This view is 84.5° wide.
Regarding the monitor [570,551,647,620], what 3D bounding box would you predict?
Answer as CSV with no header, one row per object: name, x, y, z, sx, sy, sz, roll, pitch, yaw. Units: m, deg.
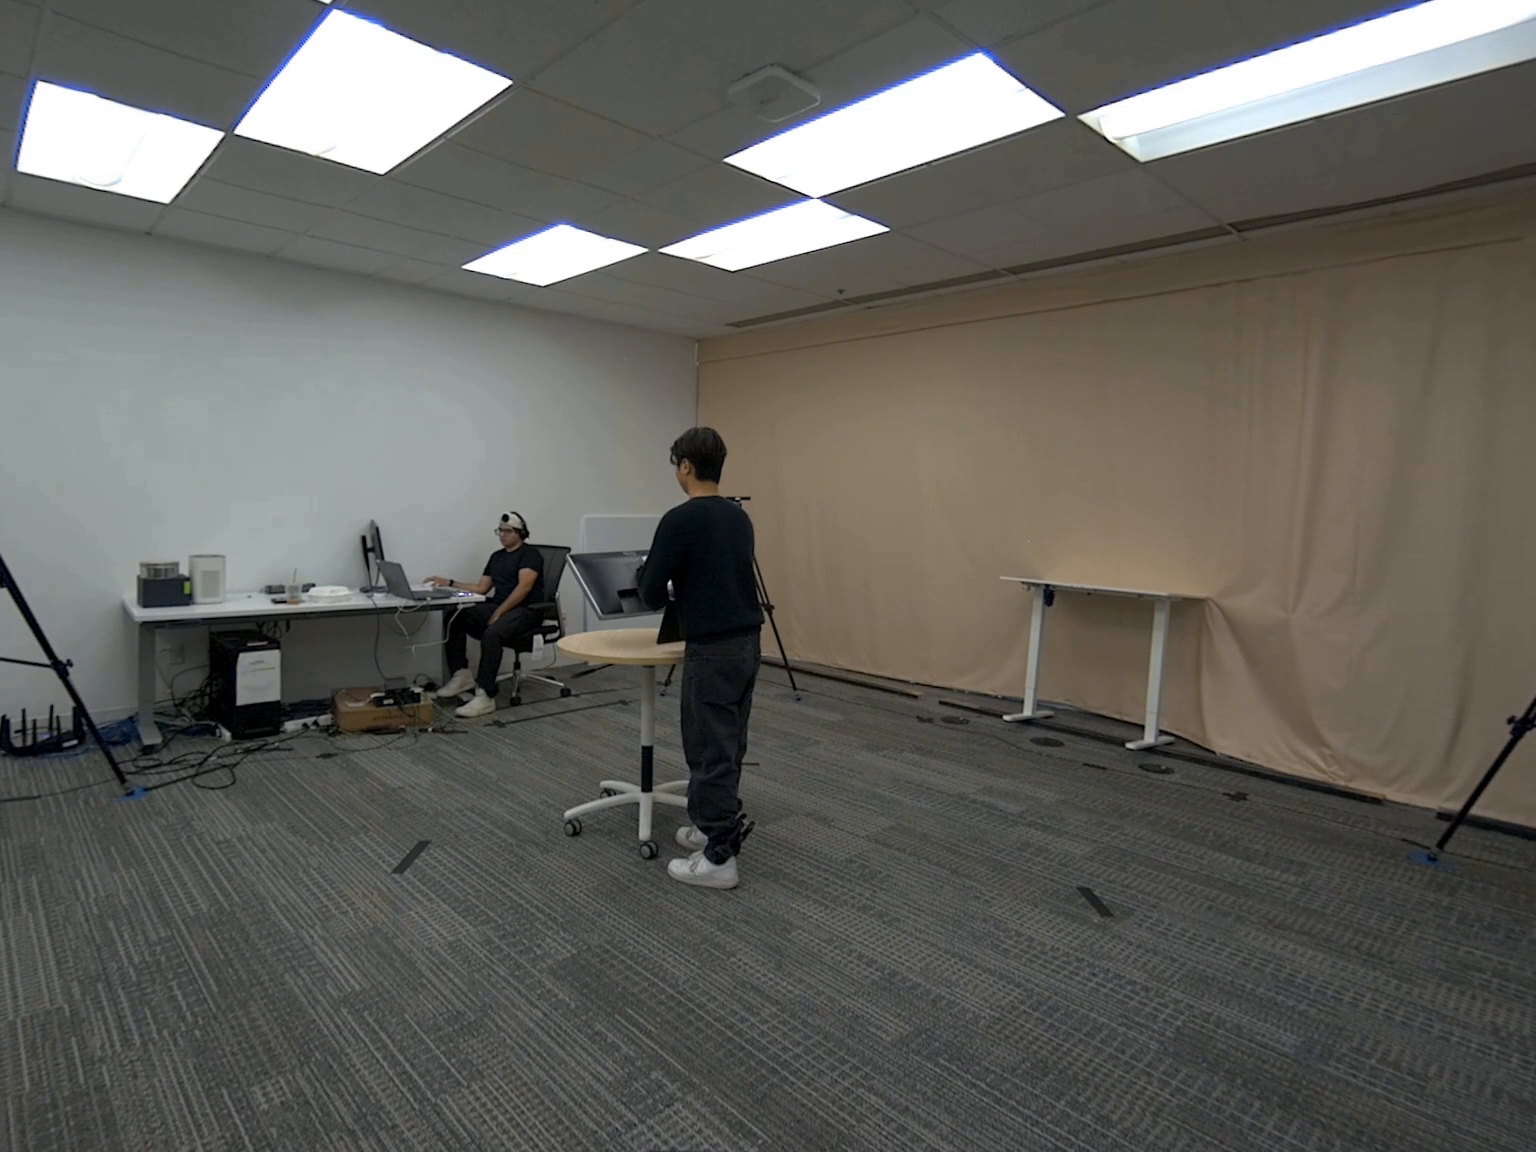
monitor,-0.484,0.047,3.493,0.527,0.185,0.539,-3,34,-40
